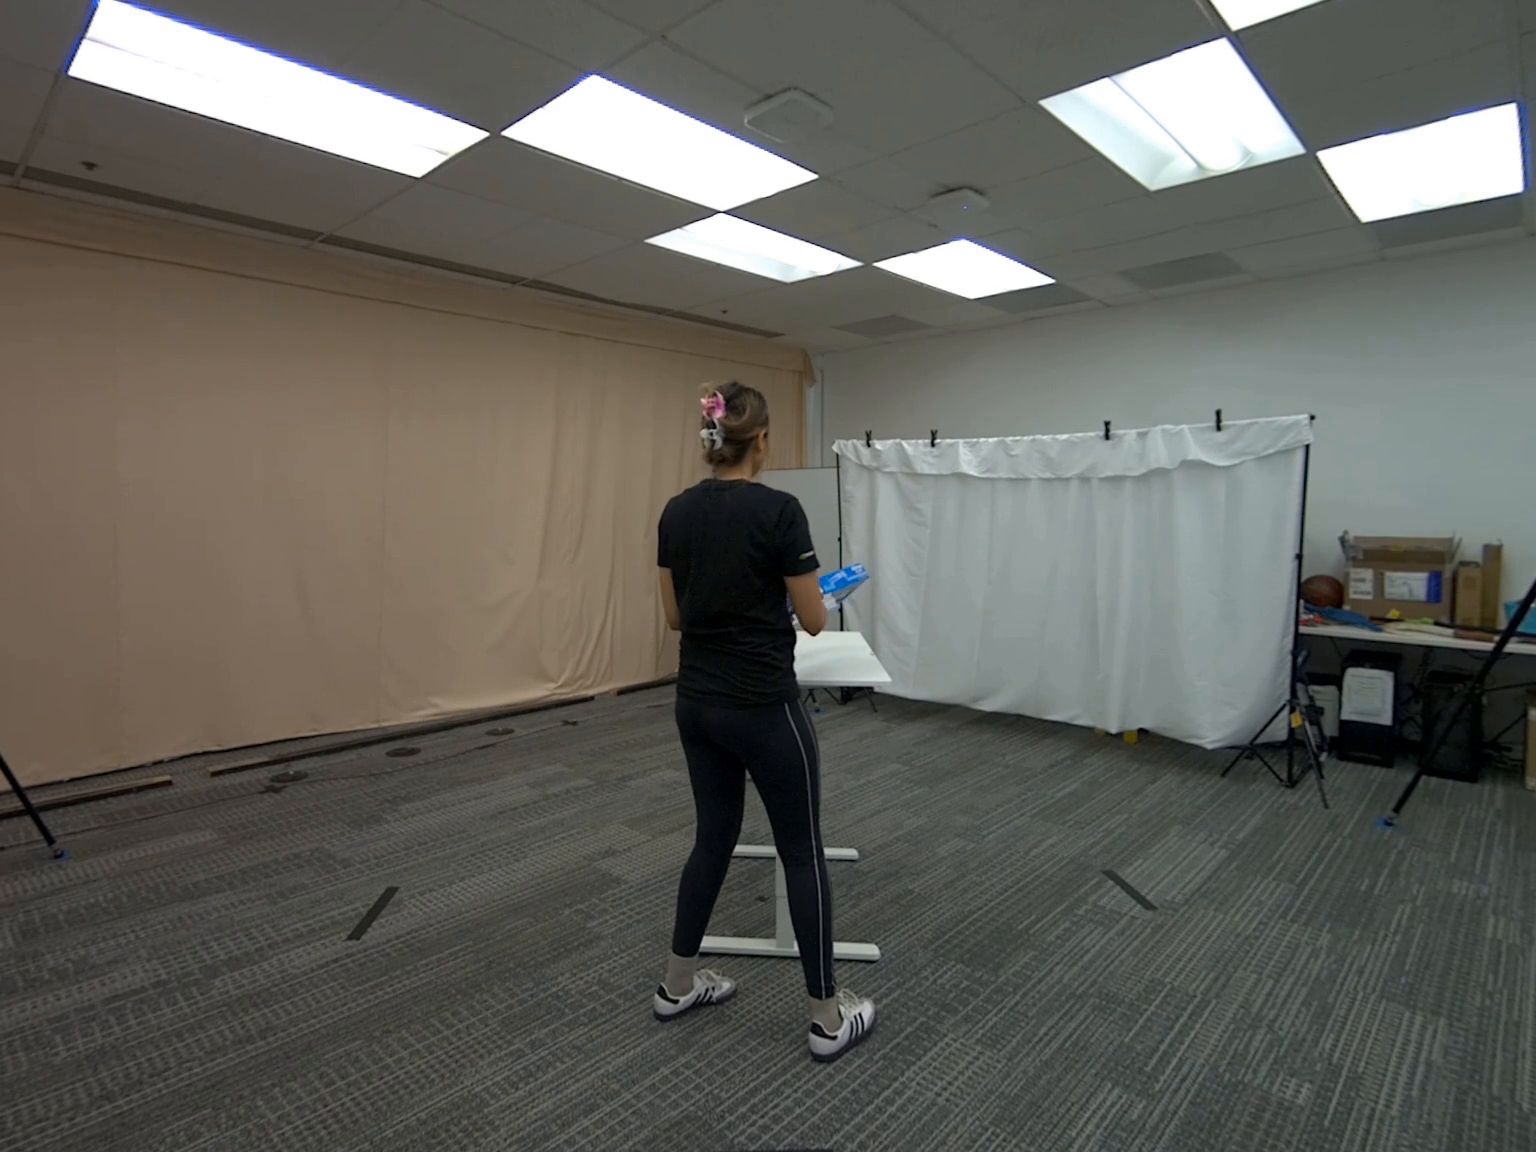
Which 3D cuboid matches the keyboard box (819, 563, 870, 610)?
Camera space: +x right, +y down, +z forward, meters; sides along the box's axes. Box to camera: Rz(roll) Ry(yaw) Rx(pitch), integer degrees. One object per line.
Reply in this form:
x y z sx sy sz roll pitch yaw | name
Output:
0.165 0.064 2.677 0.177 0.060 0.426 -44 -14 31 | keyboard box
